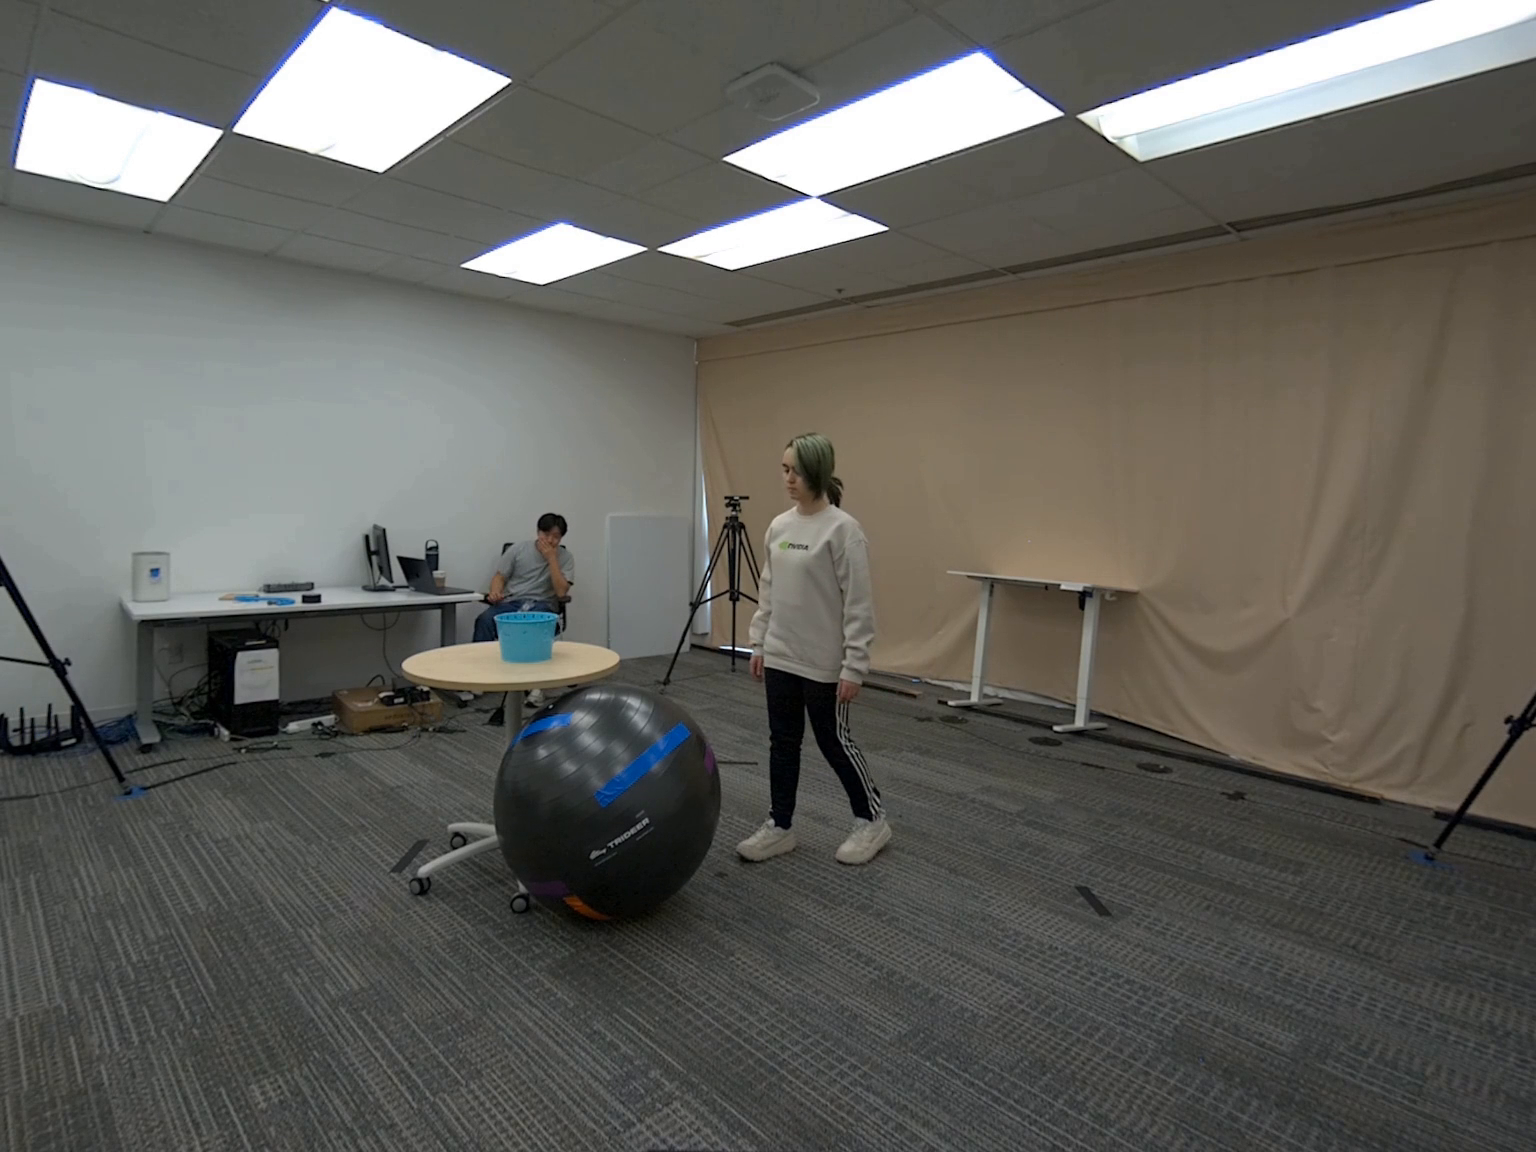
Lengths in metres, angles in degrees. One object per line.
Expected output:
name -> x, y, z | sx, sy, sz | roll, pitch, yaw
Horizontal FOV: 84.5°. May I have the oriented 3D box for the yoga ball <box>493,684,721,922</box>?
yoga ball -> -0.550, 0.754, 2.823 | 0.757, 0.756, 0.761 | 1, 4, -1
